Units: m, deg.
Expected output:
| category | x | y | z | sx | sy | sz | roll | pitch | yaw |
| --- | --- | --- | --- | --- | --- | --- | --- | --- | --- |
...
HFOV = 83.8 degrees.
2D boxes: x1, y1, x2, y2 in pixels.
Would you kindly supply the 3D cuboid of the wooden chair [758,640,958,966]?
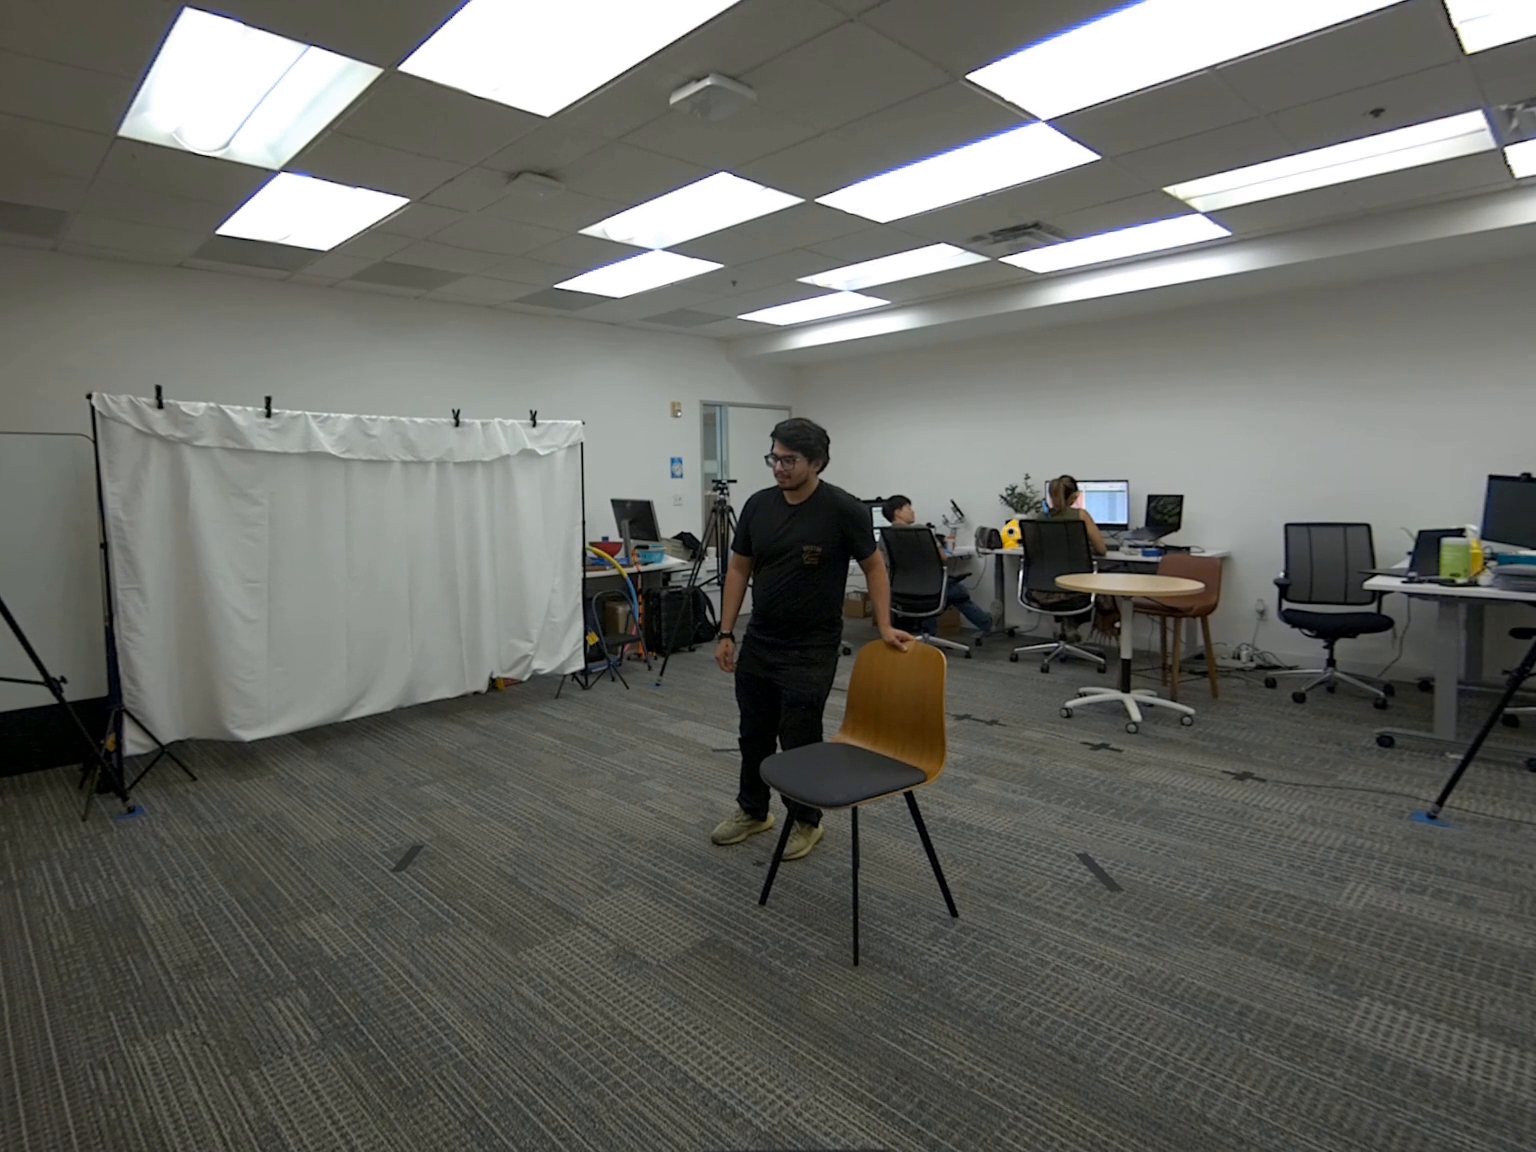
| category | x | y | z | sx | sy | sz | roll | pitch | yaw |
| --- | --- | --- | --- | --- | --- | --- | --- | --- | --- |
| wooden chair | 0.279 | 0.660 | 2.715 | 0.508 | 0.877 | 0.492 | 1 | 2 | -38 |
